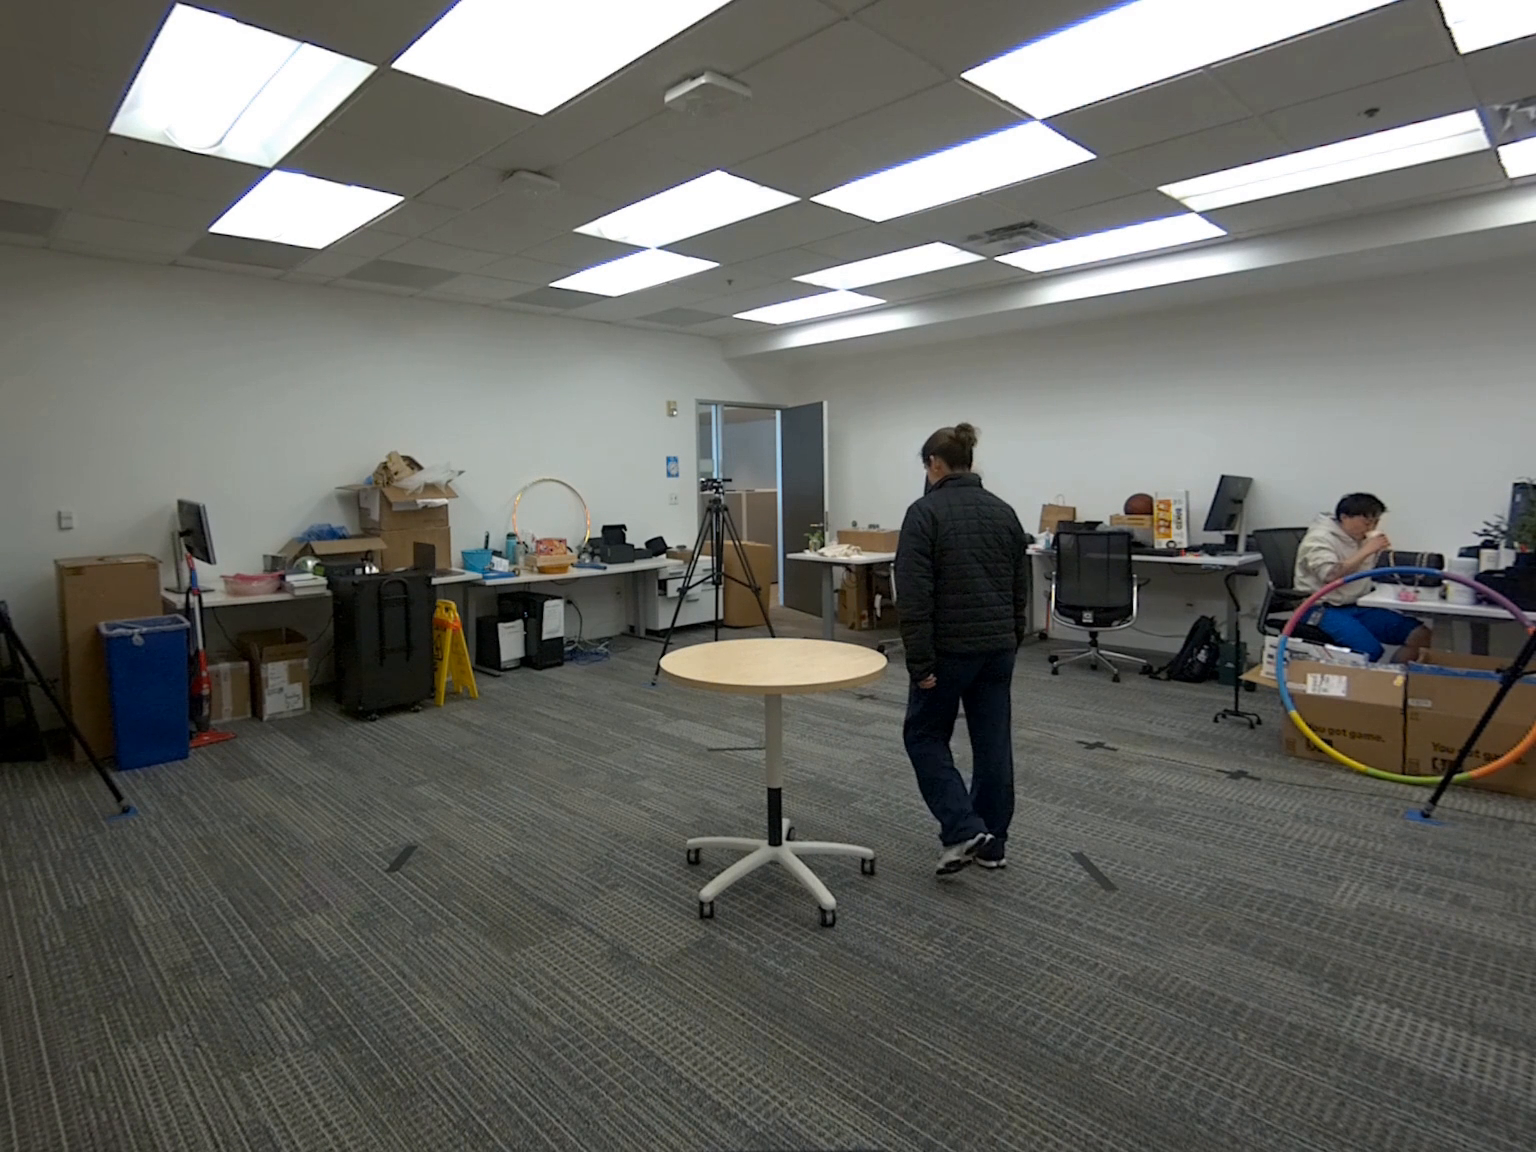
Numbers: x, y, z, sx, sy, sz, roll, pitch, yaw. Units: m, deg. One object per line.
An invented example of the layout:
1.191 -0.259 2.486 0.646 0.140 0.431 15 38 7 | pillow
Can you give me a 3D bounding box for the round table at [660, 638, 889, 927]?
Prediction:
0.007 0.669 2.936 0.784 0.784 0.789 -1 5 -2 | round table
